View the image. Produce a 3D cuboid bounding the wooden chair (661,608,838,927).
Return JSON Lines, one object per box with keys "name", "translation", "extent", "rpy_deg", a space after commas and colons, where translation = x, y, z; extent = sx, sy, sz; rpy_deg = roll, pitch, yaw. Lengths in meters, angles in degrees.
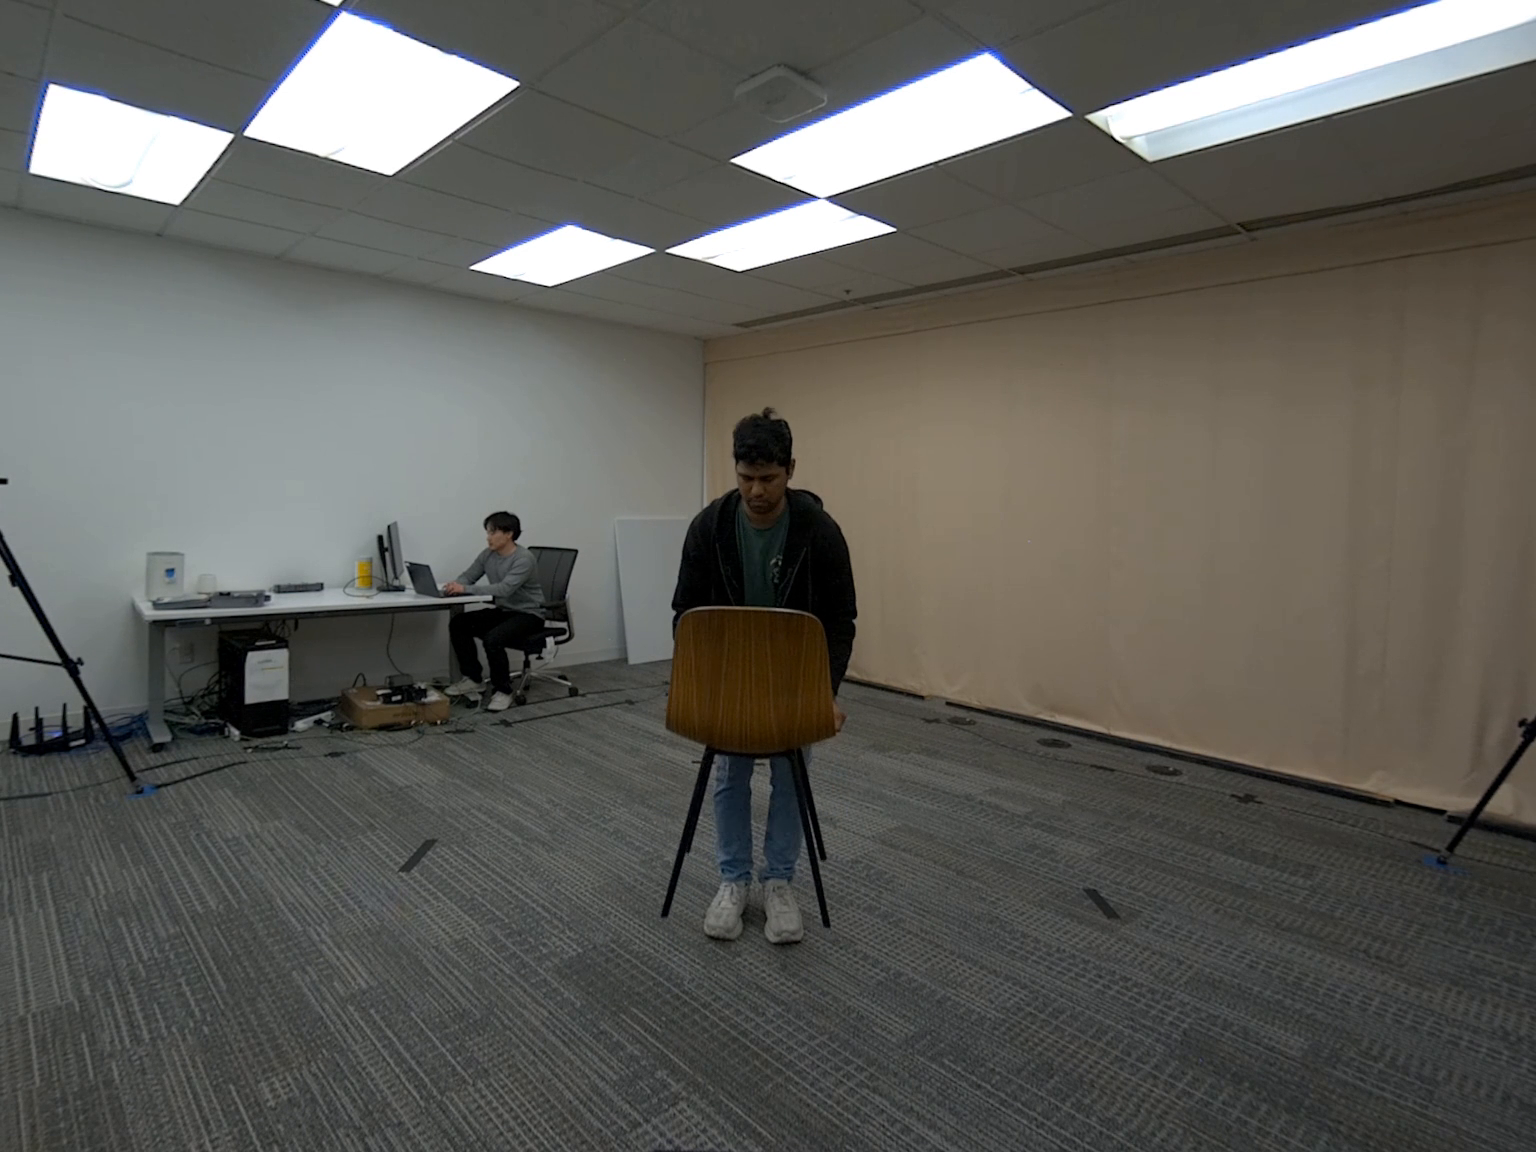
{"name": "wooden chair", "translation": [-0.059, 0.483, 2.442], "extent": [0.479, 0.873, 0.524], "rpy_deg": [1, 6, 3]}
